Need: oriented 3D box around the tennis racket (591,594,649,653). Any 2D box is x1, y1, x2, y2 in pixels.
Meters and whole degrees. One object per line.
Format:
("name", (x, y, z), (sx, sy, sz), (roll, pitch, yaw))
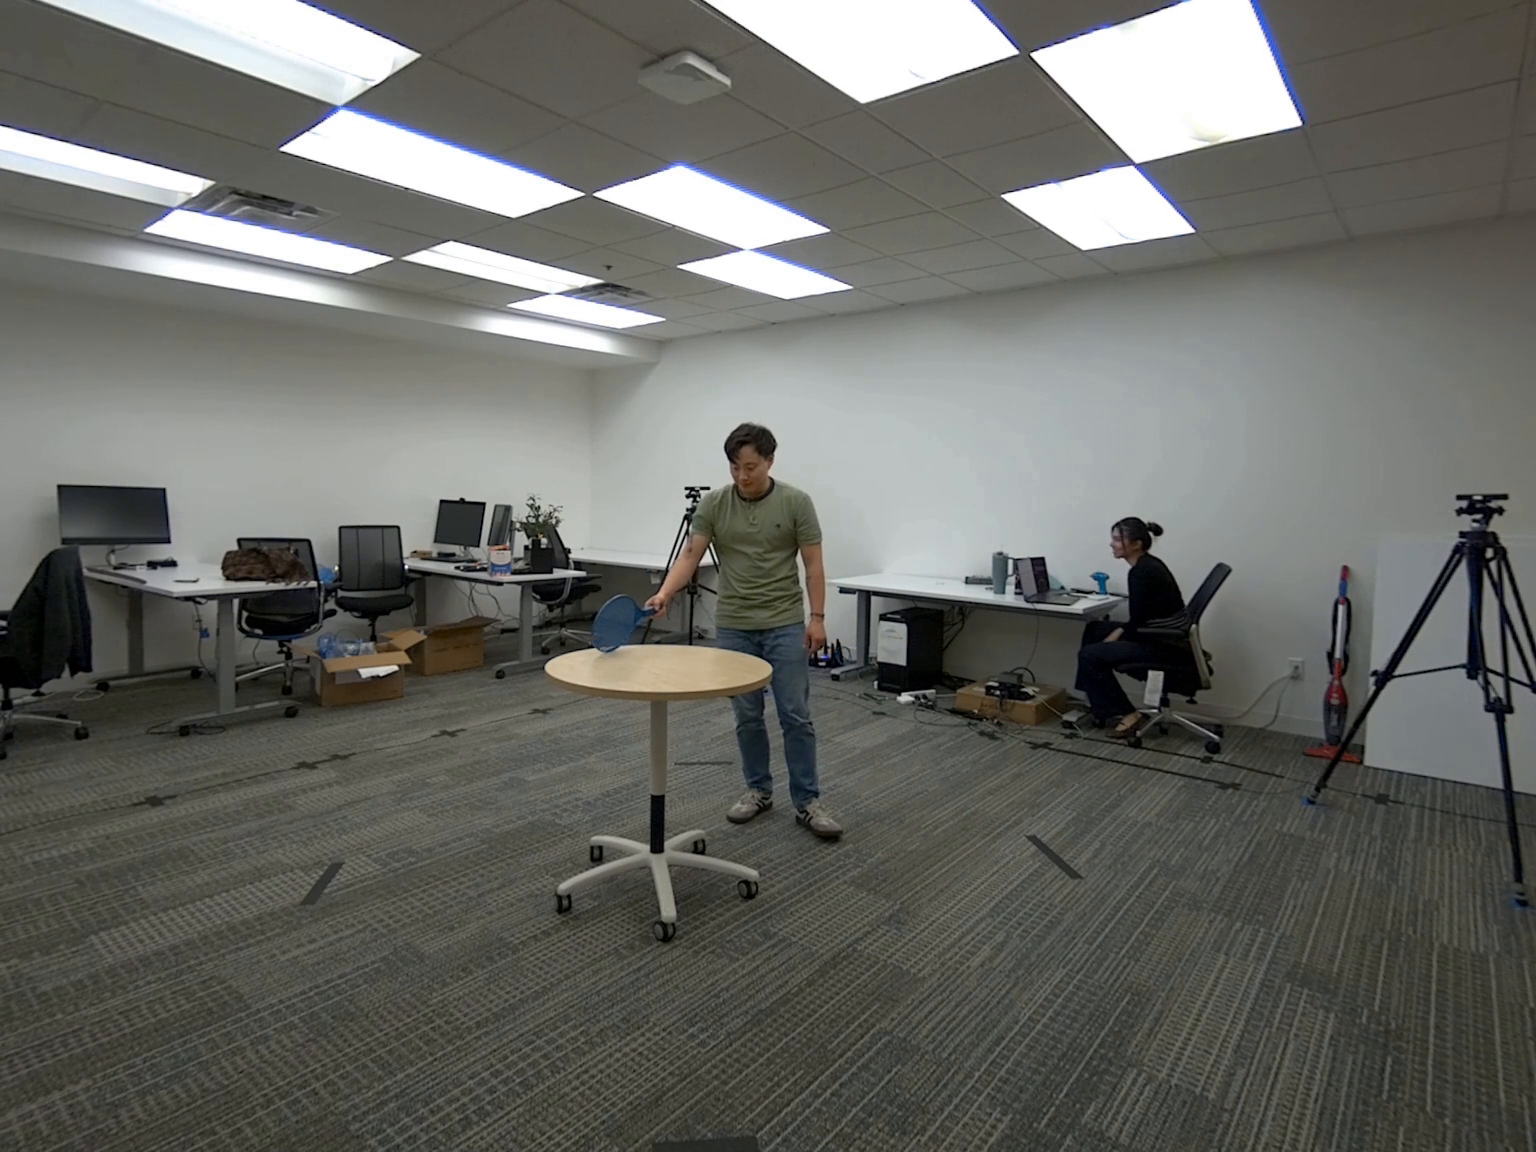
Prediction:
("tennis racket", (-0.535, 0.159, 3.164), (0.032, 0.212, 0.425), (13, 14, 23))
